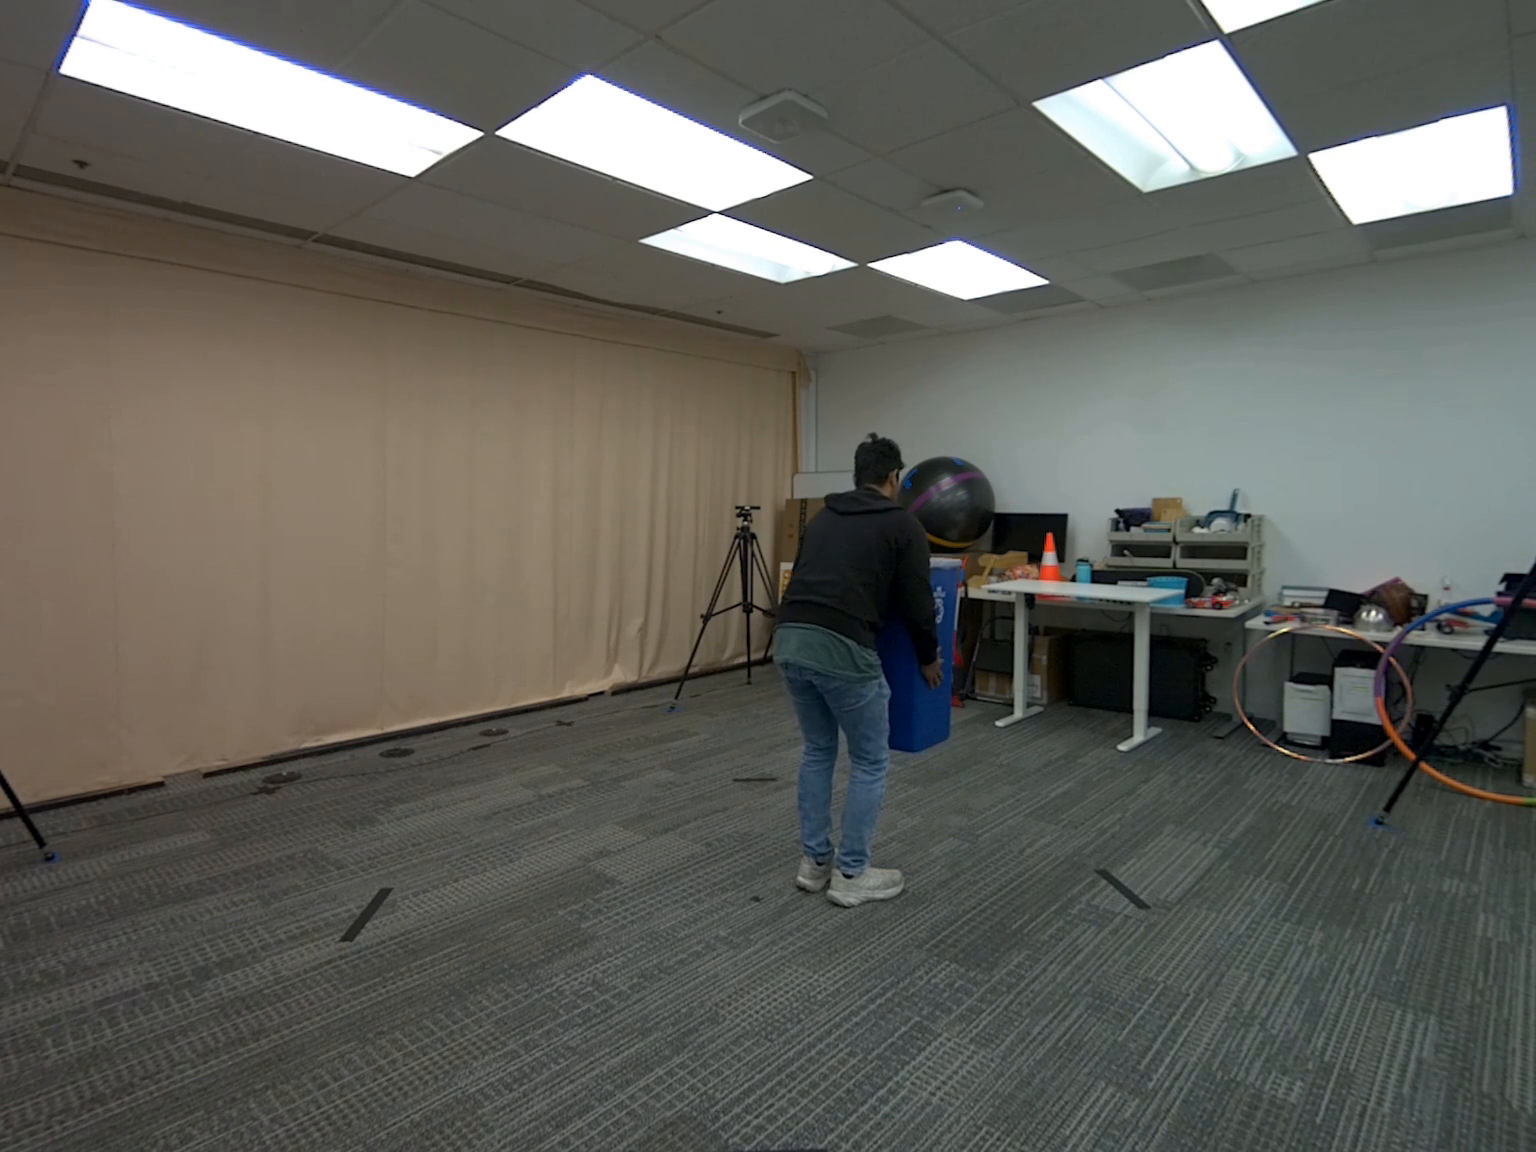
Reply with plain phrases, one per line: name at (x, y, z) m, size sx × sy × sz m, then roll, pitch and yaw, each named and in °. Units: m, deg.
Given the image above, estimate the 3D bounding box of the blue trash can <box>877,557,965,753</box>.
blue trash can at (0.528, 0.293, 3.327) m, size 0.390 × 0.713 × 0.362 m, roll 2°, pitch 3°, yaw 38°
